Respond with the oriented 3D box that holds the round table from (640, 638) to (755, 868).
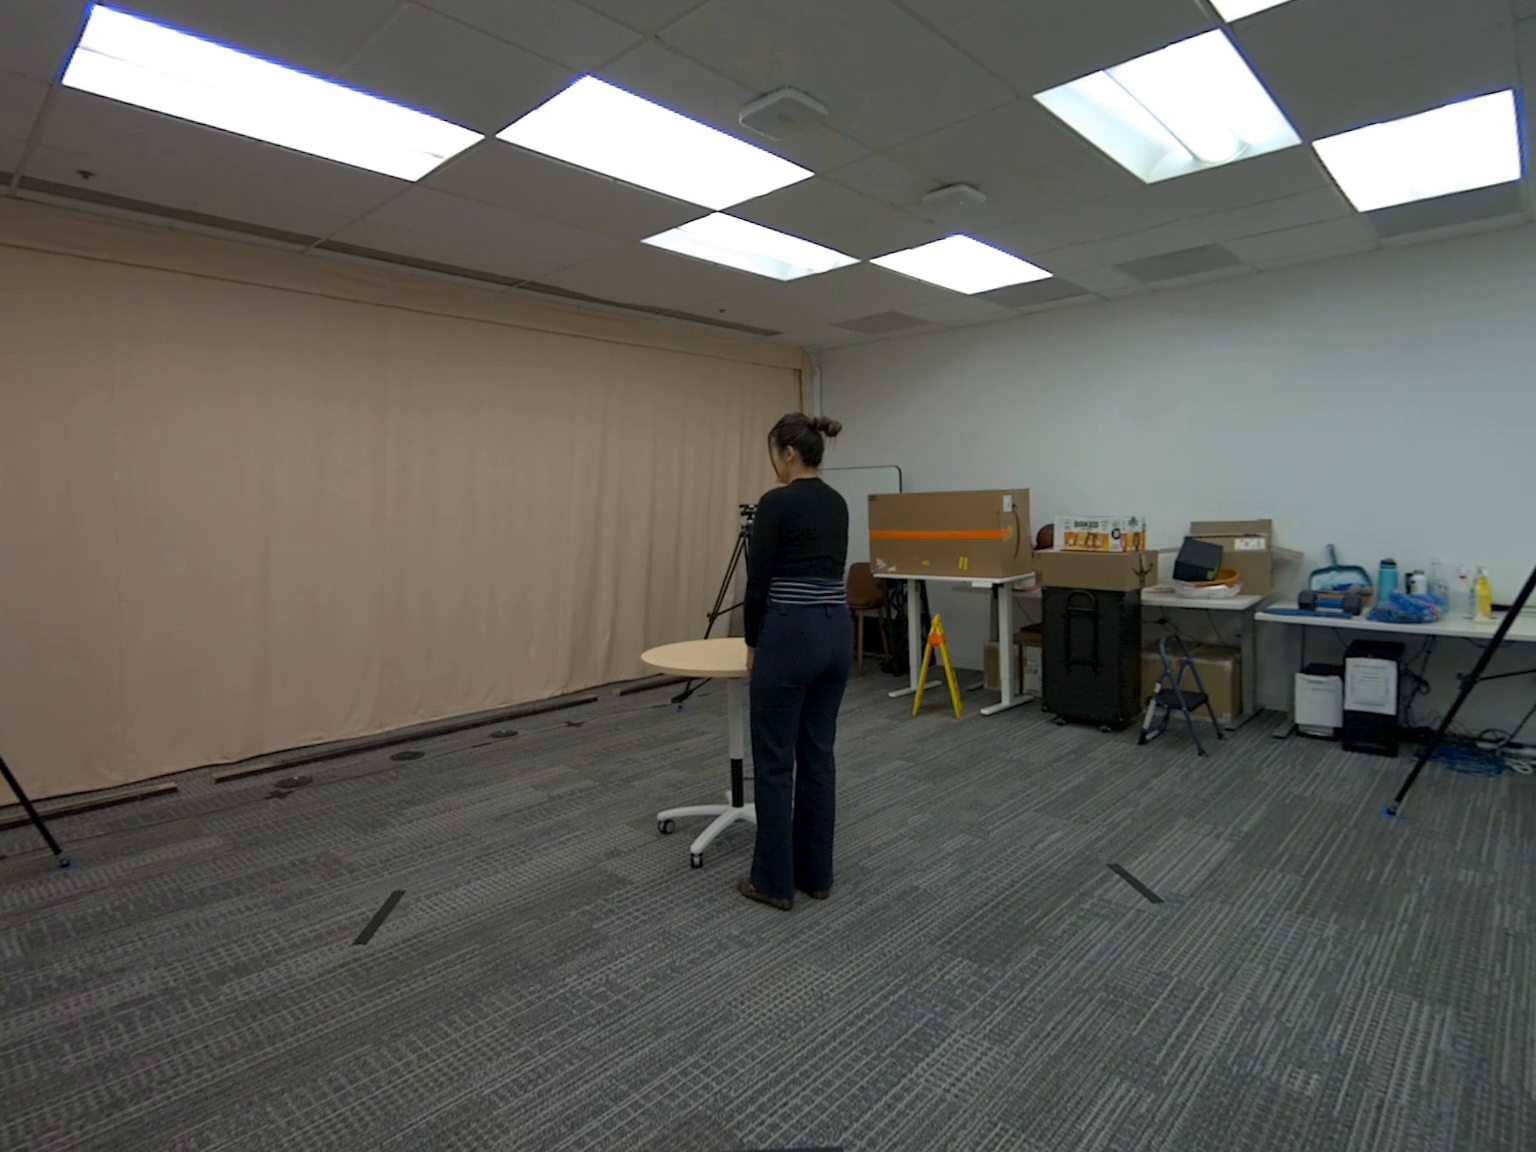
[{"bbox_3d":[-0.125,0.709,3.496,0.763,0.792,0.766,-2,3,-2],"label":"round table"}]
